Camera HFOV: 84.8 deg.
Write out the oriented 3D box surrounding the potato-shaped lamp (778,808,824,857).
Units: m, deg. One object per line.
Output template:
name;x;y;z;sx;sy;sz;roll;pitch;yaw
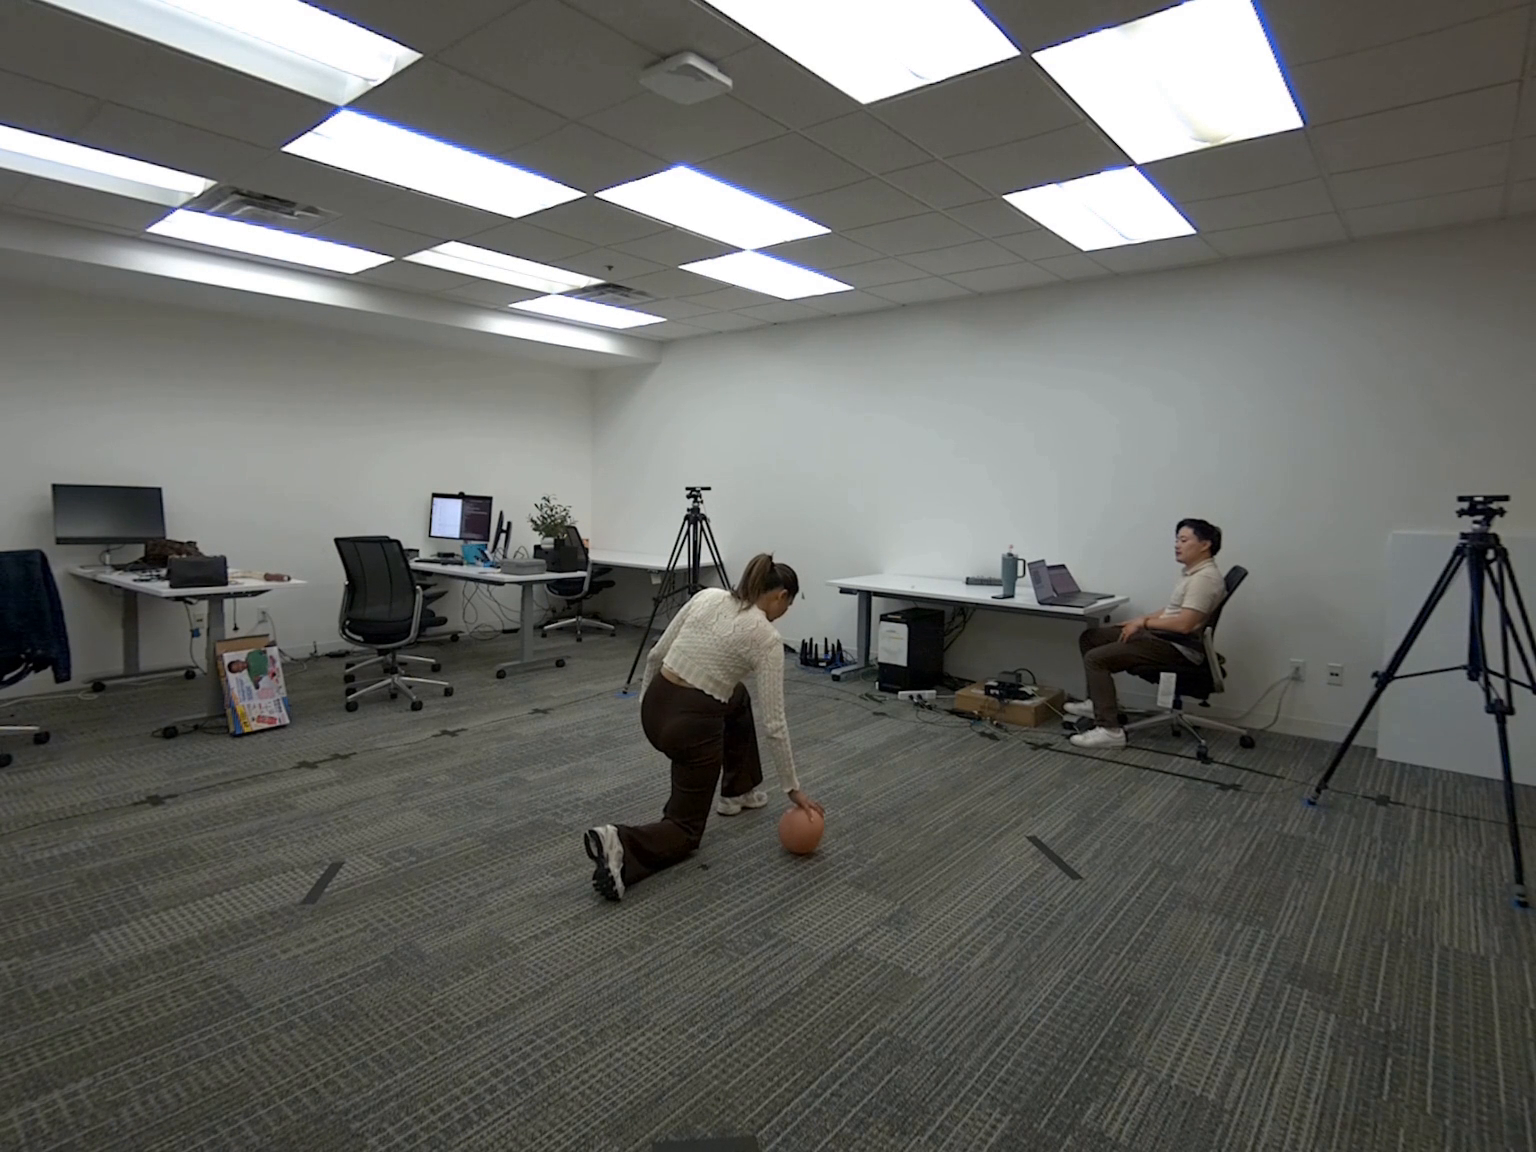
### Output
potato-shaped lamp;0.129;0.954;3.244;0.163;0.195;0.176;12;44;-11
